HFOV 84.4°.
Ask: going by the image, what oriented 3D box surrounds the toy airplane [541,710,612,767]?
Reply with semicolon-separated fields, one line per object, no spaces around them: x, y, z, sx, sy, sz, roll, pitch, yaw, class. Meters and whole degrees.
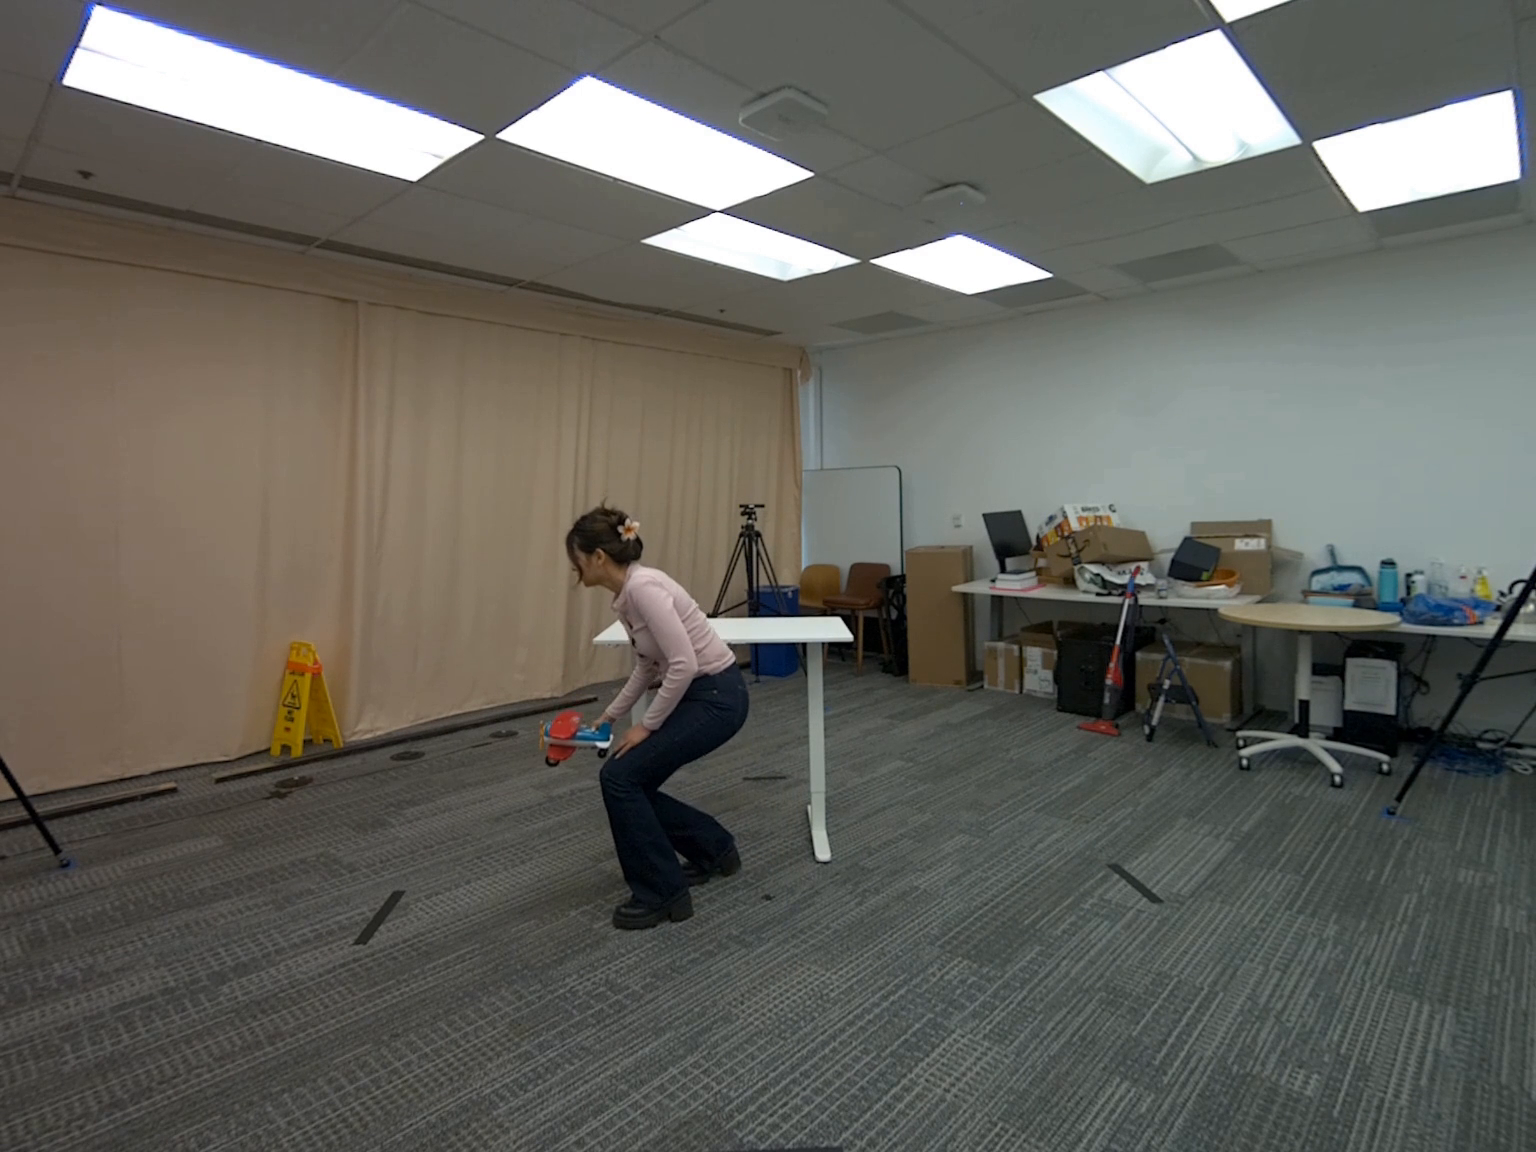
-0.703;0.594;3.091;0.254;0.155;0.258;-12;12;-25;toy airplane
